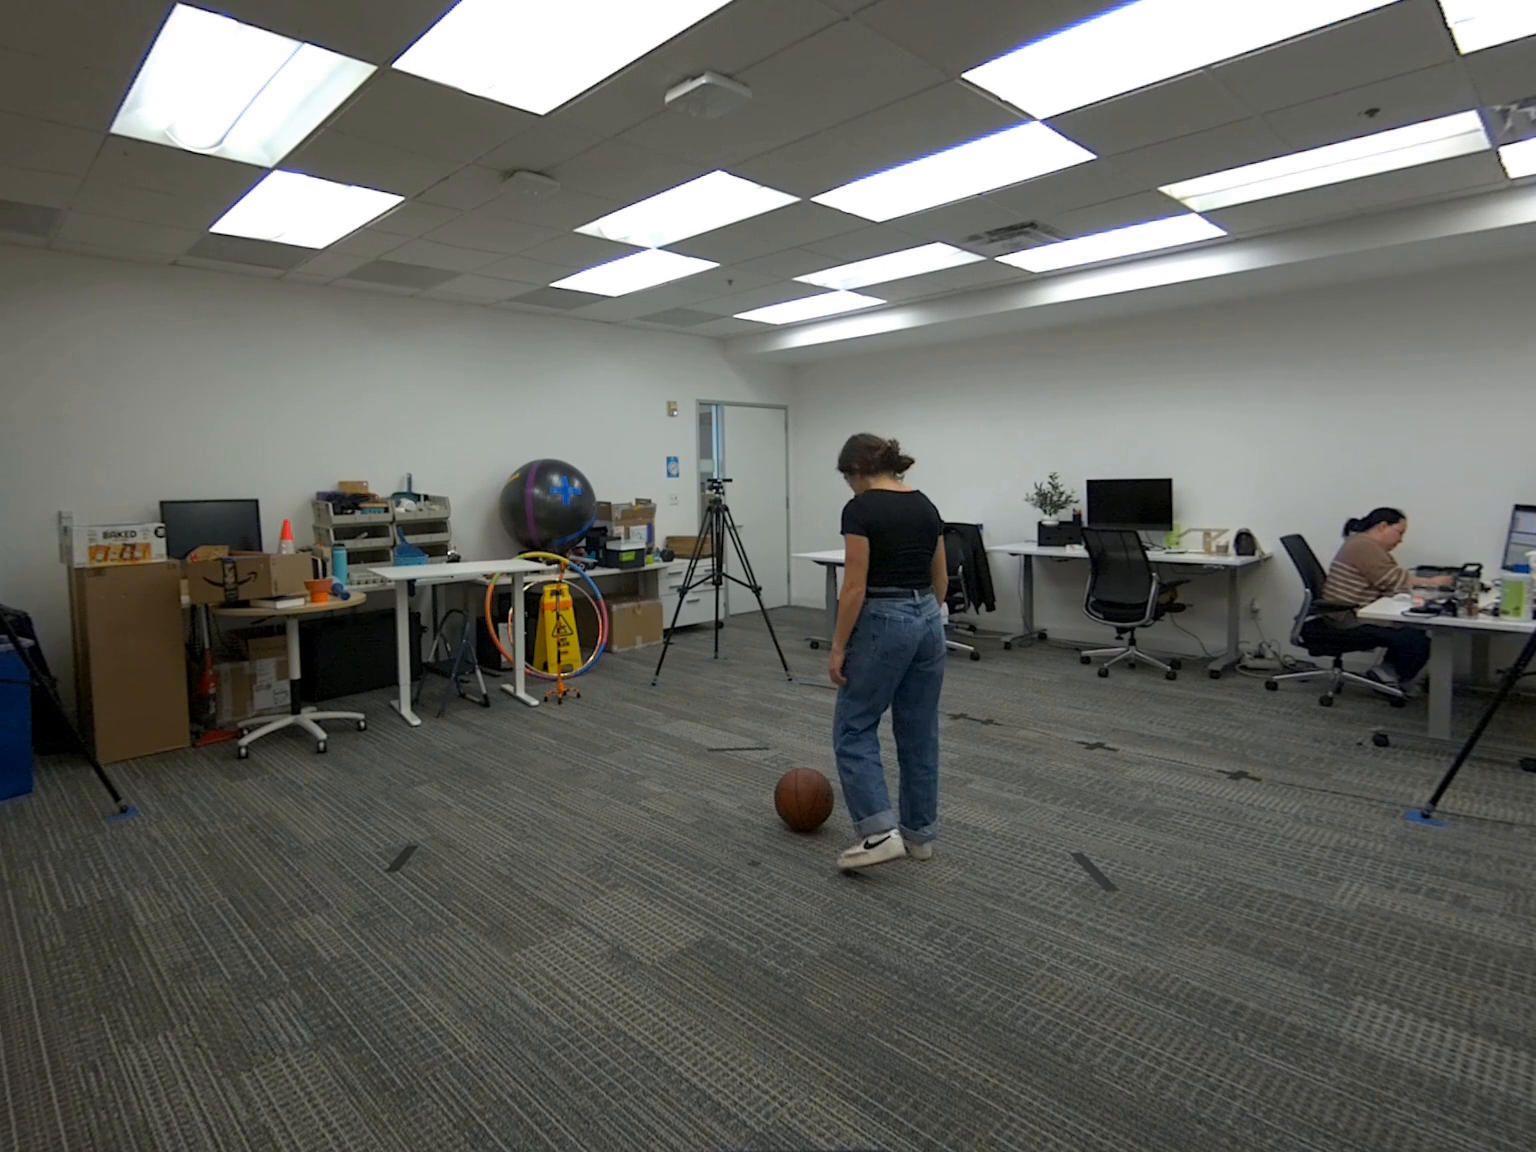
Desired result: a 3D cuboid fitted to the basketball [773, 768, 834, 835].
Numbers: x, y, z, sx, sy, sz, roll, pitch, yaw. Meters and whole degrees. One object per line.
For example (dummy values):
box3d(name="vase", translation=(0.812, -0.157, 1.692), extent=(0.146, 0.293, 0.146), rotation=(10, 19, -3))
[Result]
box3d(name="basketball", translation=(0.146, 0.888, 3.411), extent=(0.236, 0.235, 0.237), rotation=(-1, 5, -2))
